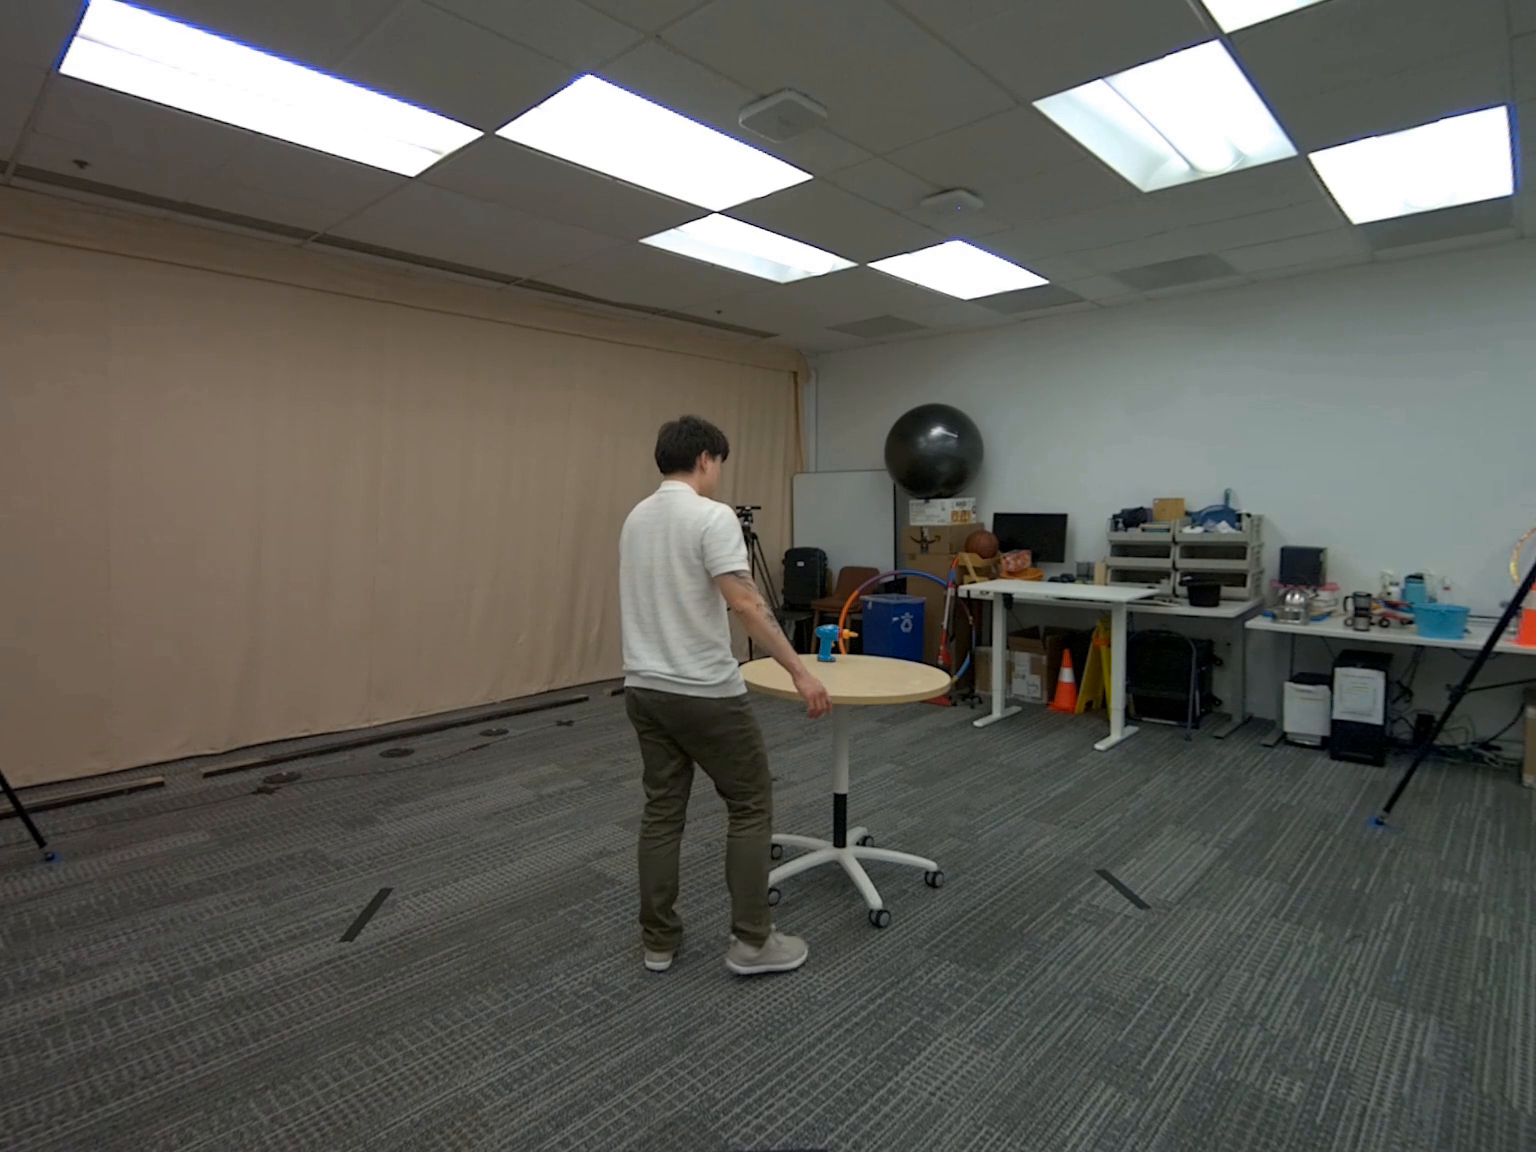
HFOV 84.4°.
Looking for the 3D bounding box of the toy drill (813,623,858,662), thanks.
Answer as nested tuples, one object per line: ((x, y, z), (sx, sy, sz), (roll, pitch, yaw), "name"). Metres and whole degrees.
((0.269, 0.262, 3.280), (0.173, 0.145, 0.060), (2, 7, 16), "toy drill")
